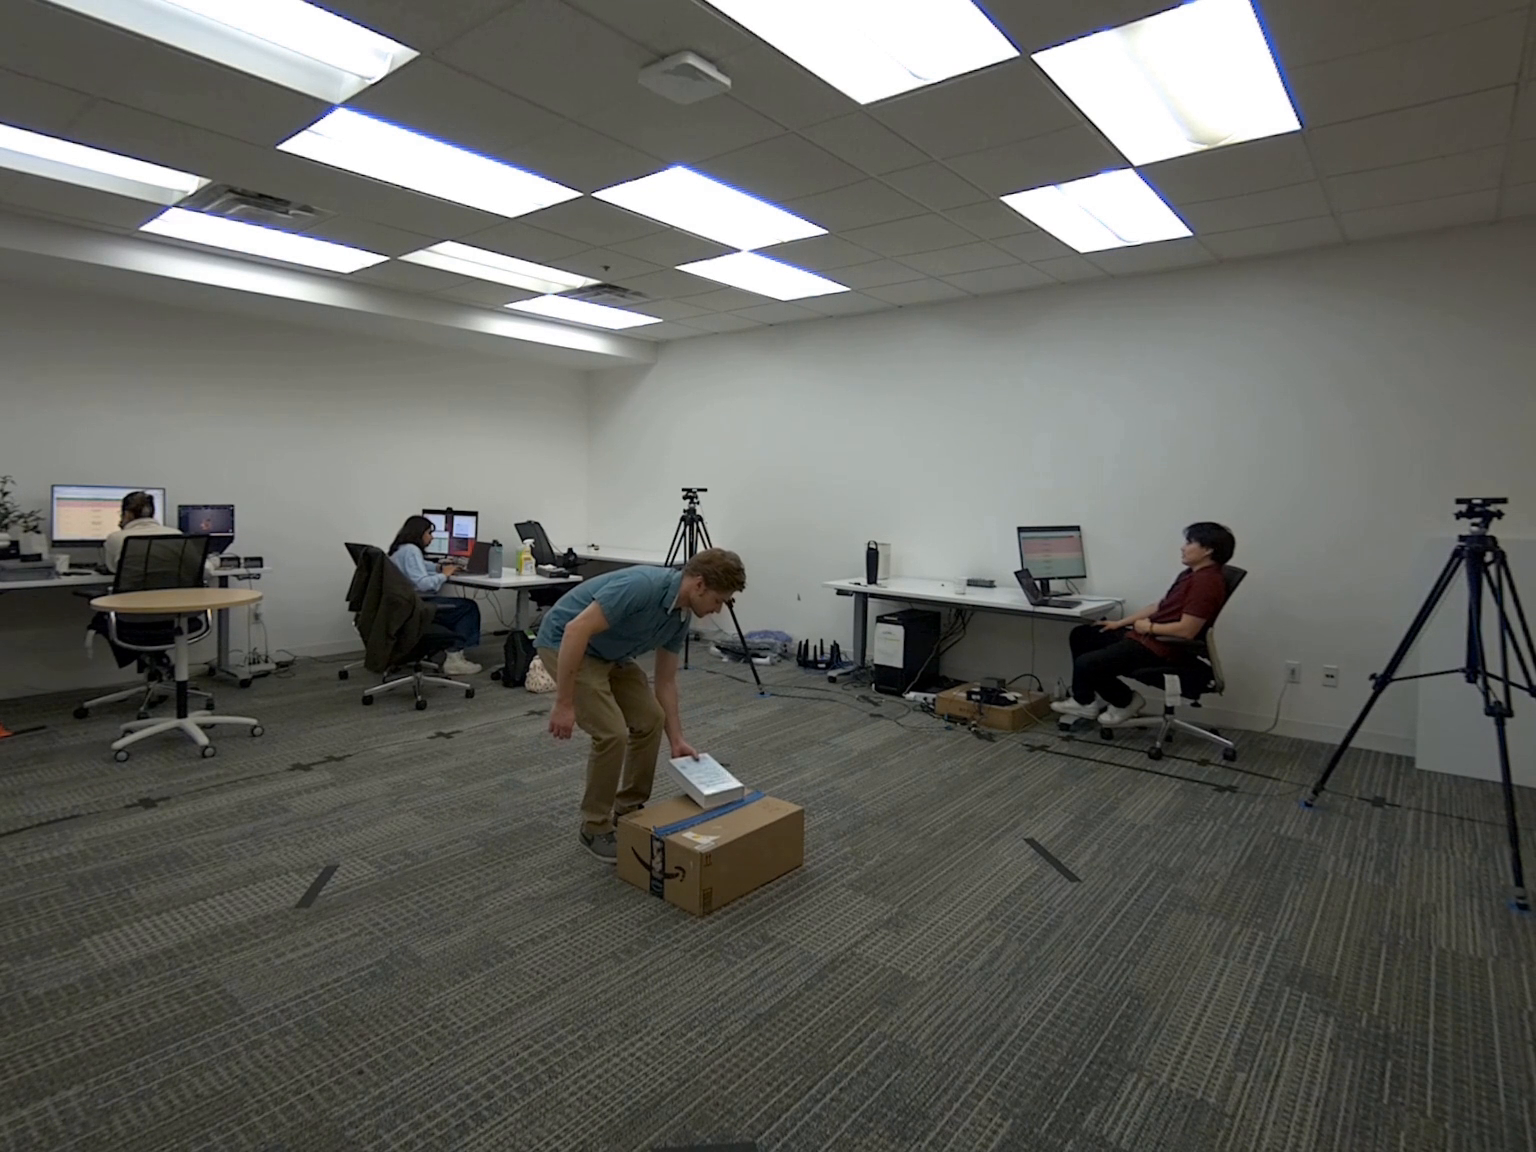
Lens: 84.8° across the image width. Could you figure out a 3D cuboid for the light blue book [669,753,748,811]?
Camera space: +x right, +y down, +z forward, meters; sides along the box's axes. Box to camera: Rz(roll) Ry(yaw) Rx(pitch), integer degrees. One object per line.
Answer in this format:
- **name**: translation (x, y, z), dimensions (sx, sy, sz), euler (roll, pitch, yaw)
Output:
- **light blue book**: translation (-0.243, 0.784, 3.280), dimensions (0.186, 0.058, 0.272), euler (0, 18, -34)
